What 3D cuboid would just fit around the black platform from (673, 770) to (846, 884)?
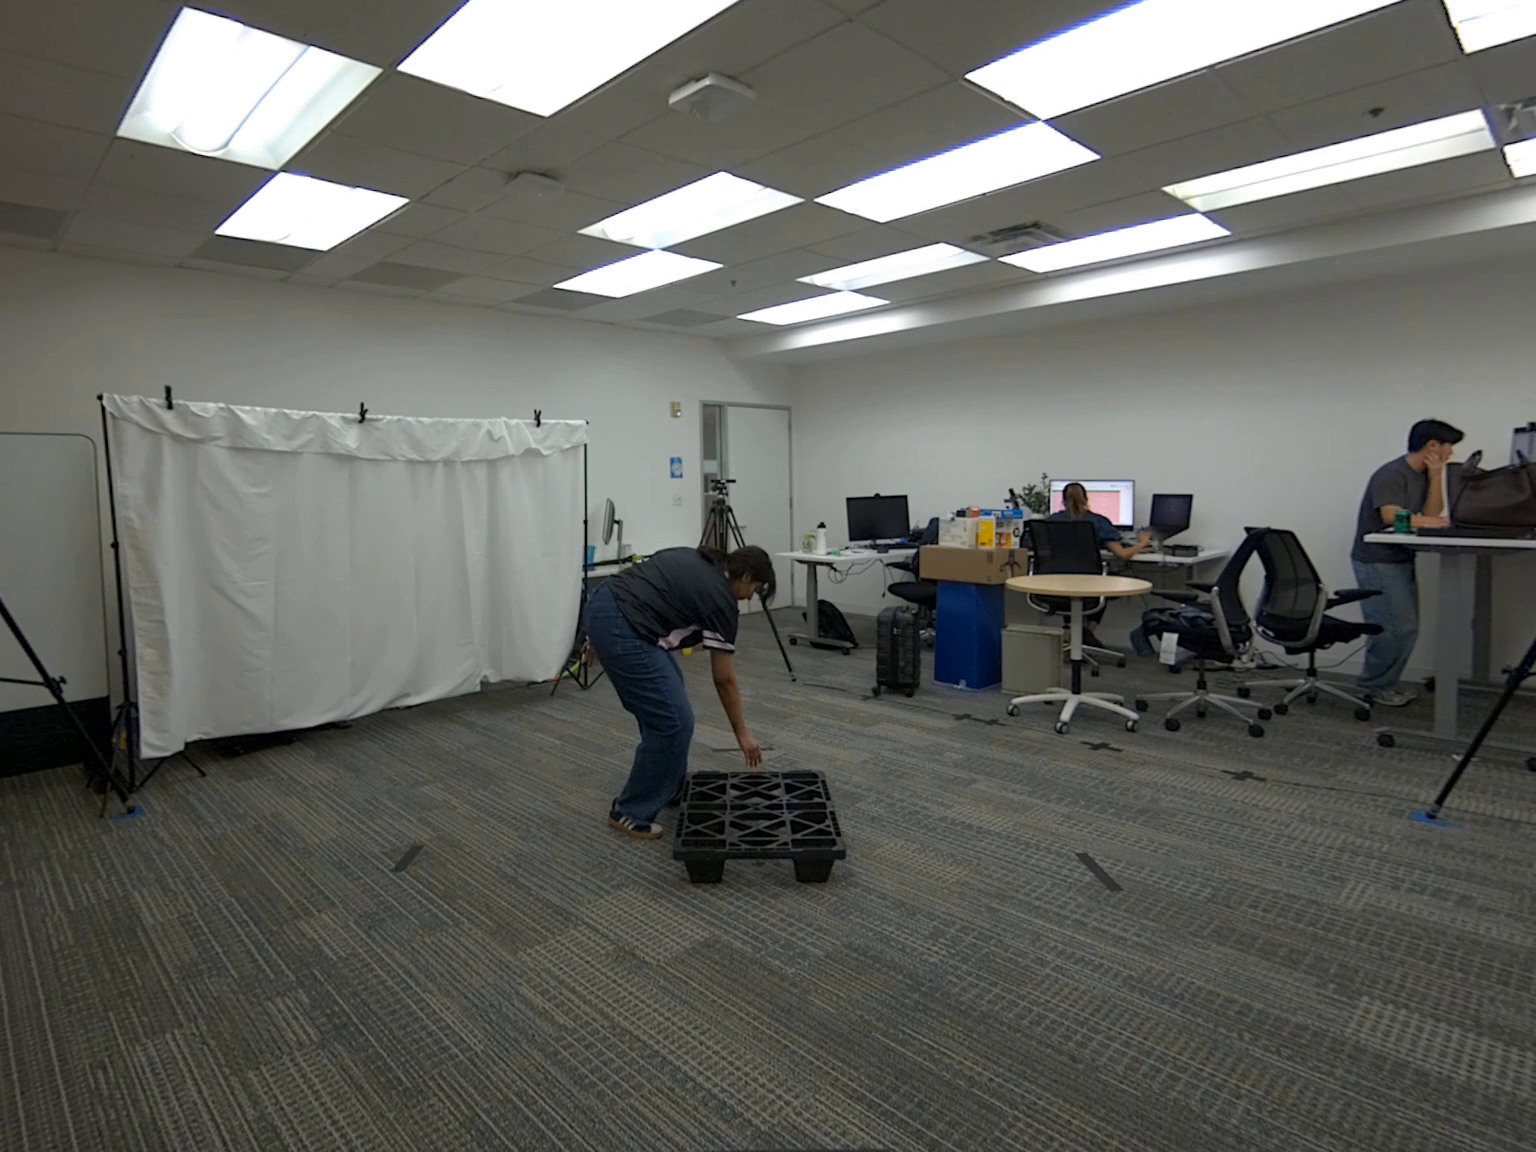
[{"bbox_3d":[-0.042,0.960,3.308,0.605,0.143,0.809,-2,6,0],"label":"black platform"}]
